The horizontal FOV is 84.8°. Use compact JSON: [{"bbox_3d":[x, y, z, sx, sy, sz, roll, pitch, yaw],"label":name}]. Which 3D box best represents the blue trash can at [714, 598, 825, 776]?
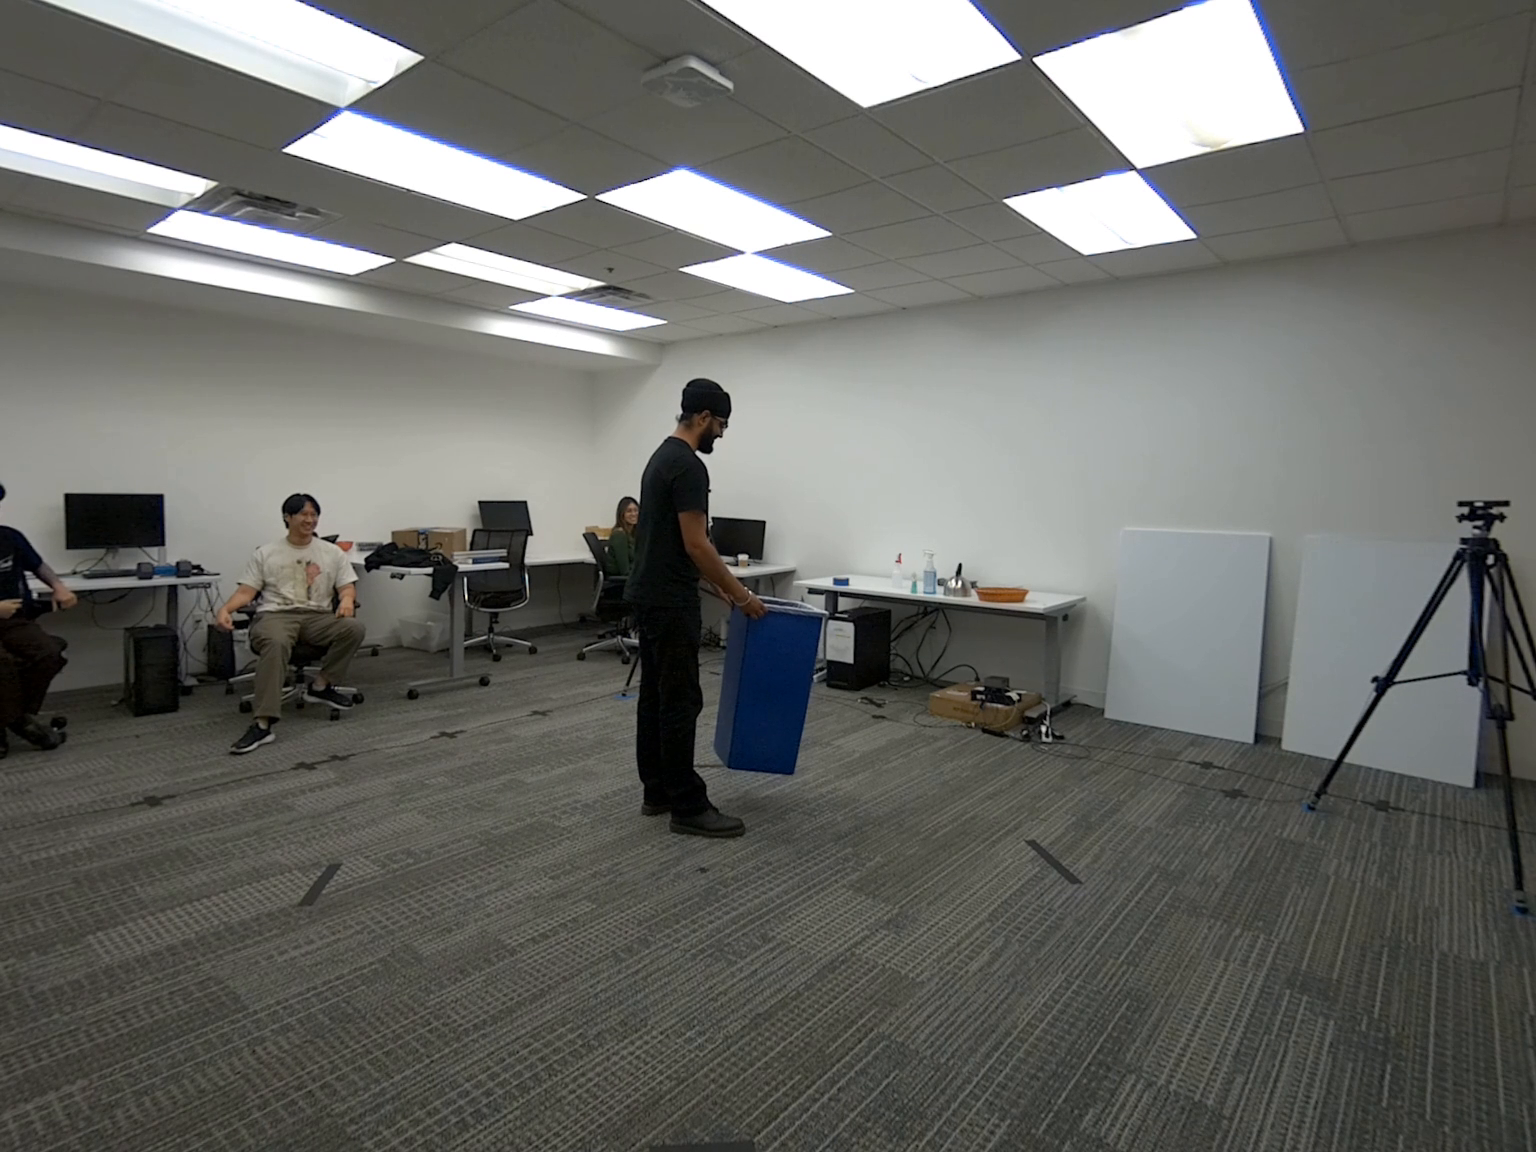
[{"bbox_3d":[-0.031,0.475,3.750,0.368,0.713,0.385,9,1,-15],"label":"blue trash can"}]
